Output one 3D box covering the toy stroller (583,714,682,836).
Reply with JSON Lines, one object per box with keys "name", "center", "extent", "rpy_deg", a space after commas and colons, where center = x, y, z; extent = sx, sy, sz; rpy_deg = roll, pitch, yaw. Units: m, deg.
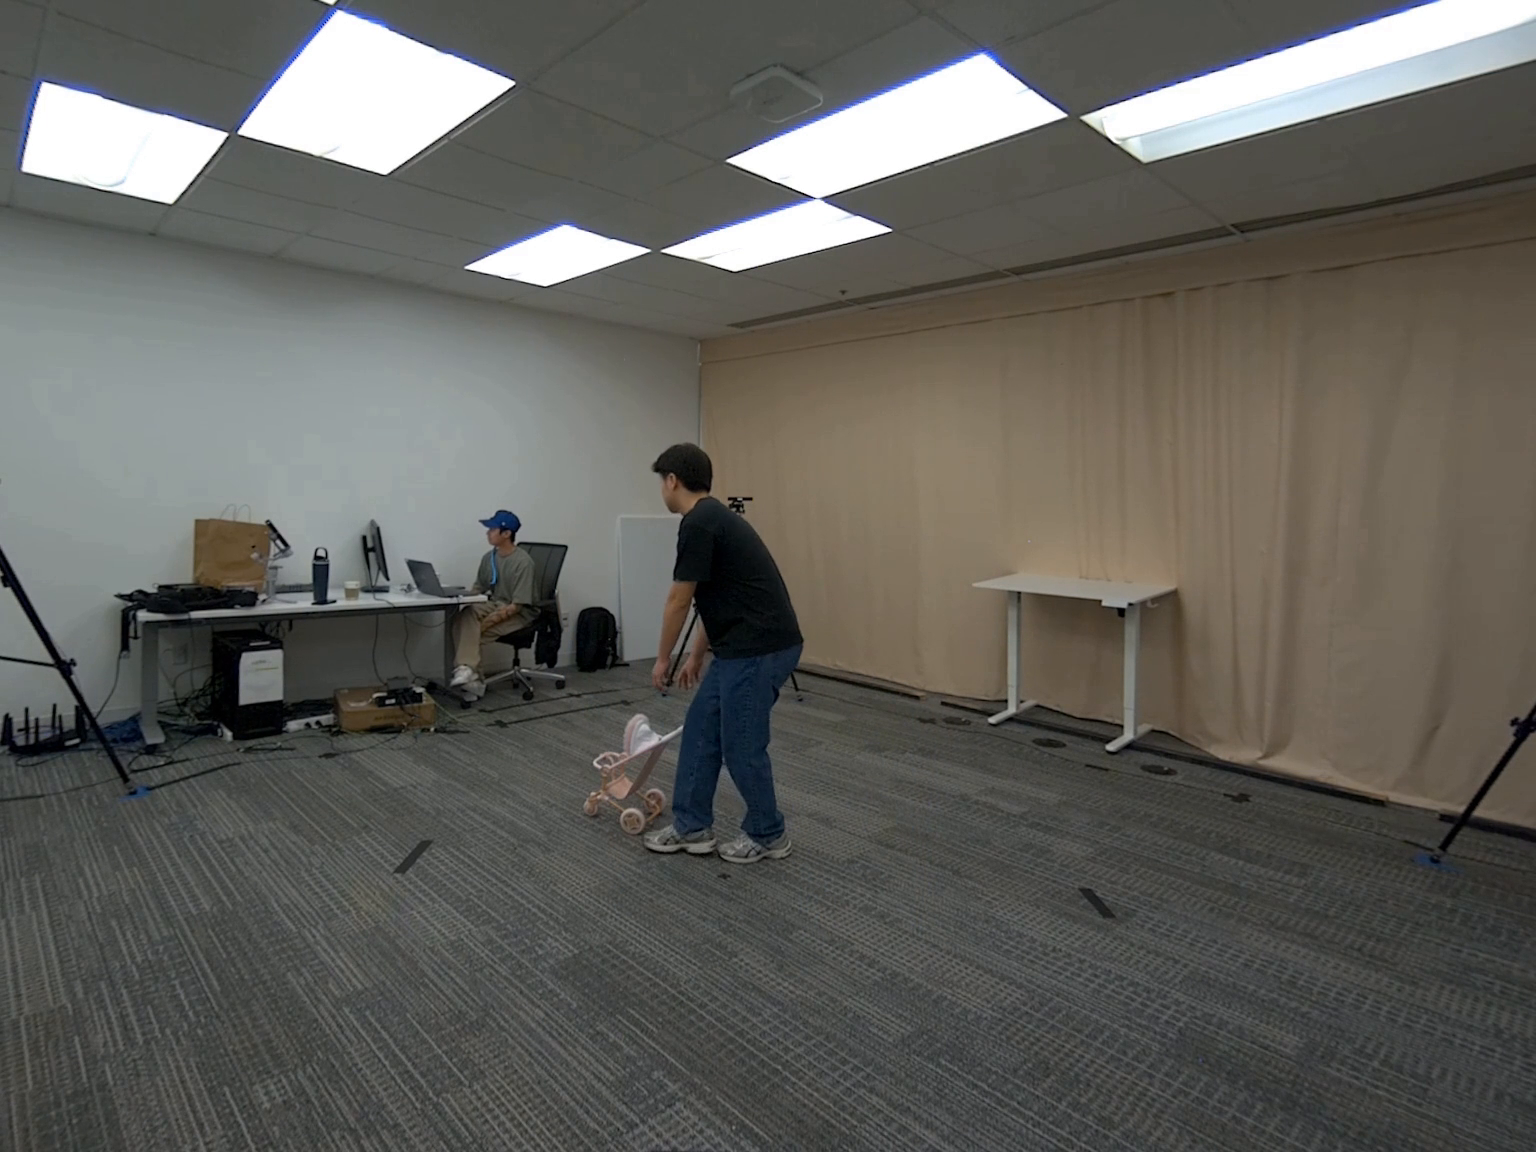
{"name": "toy stroller", "center": [-0.591, 0.832, 3.603], "extent": [0.348, 0.533, 0.277], "rpy_deg": [20, 9, 19]}
